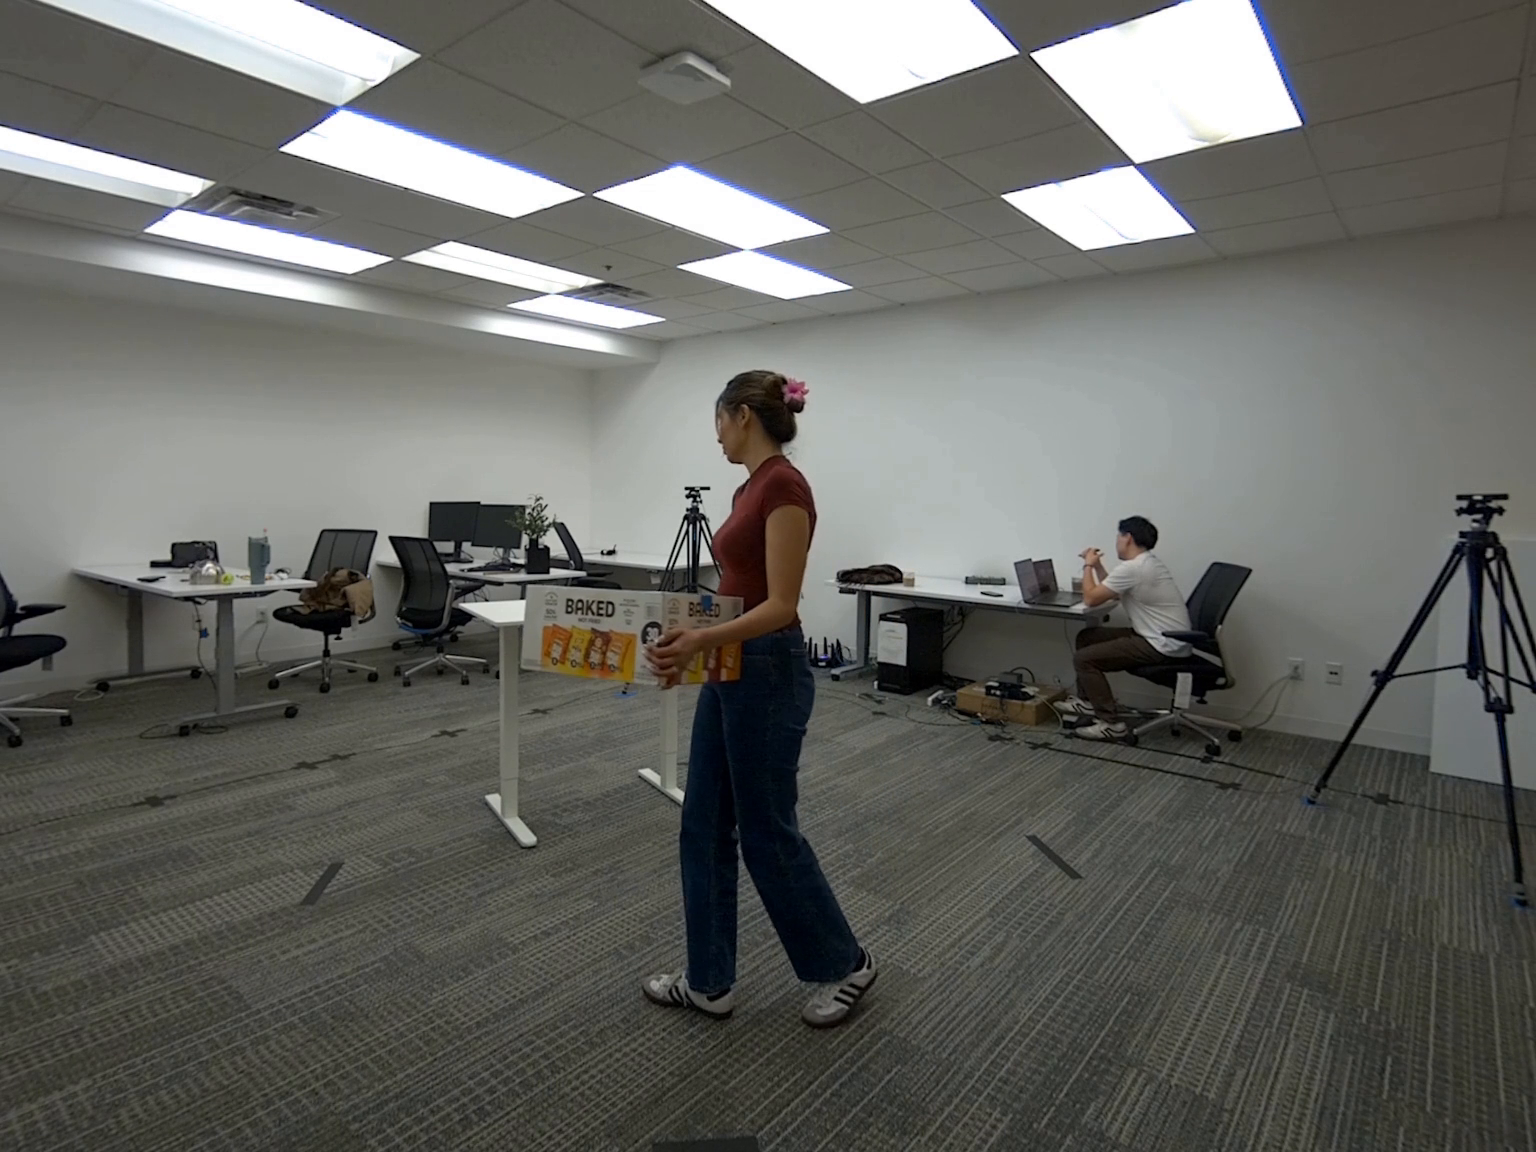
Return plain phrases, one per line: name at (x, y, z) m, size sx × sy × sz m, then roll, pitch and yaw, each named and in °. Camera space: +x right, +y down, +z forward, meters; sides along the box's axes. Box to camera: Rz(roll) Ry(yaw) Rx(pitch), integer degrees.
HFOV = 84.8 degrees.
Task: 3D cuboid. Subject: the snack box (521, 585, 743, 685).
snack box at (-0.329, 0.133, 2.071) m, size 0.417 × 0.206 × 0.329 m, roll 2°, pitch -4°, yaw 31°
